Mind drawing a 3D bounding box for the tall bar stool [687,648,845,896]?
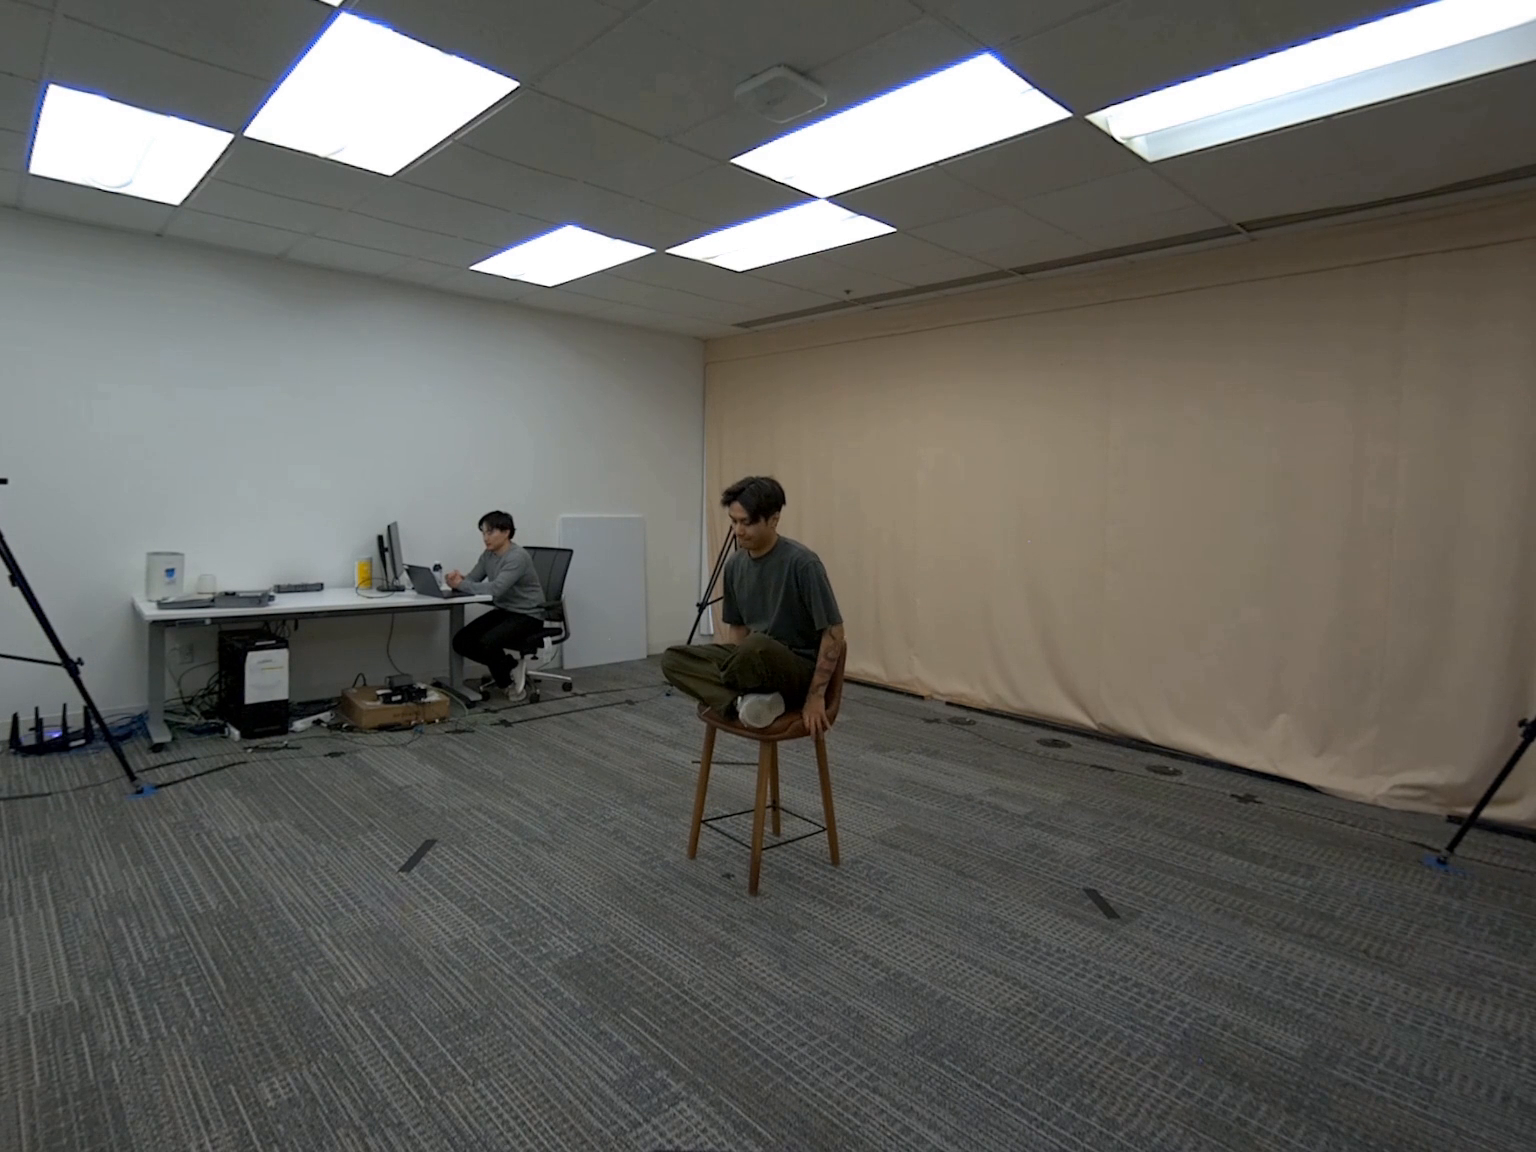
[{"bbox_3d":[0.002,0.665,3.220,0.456,0.889,0.468,2,2,-39],"label":"tall bar stool"}]
